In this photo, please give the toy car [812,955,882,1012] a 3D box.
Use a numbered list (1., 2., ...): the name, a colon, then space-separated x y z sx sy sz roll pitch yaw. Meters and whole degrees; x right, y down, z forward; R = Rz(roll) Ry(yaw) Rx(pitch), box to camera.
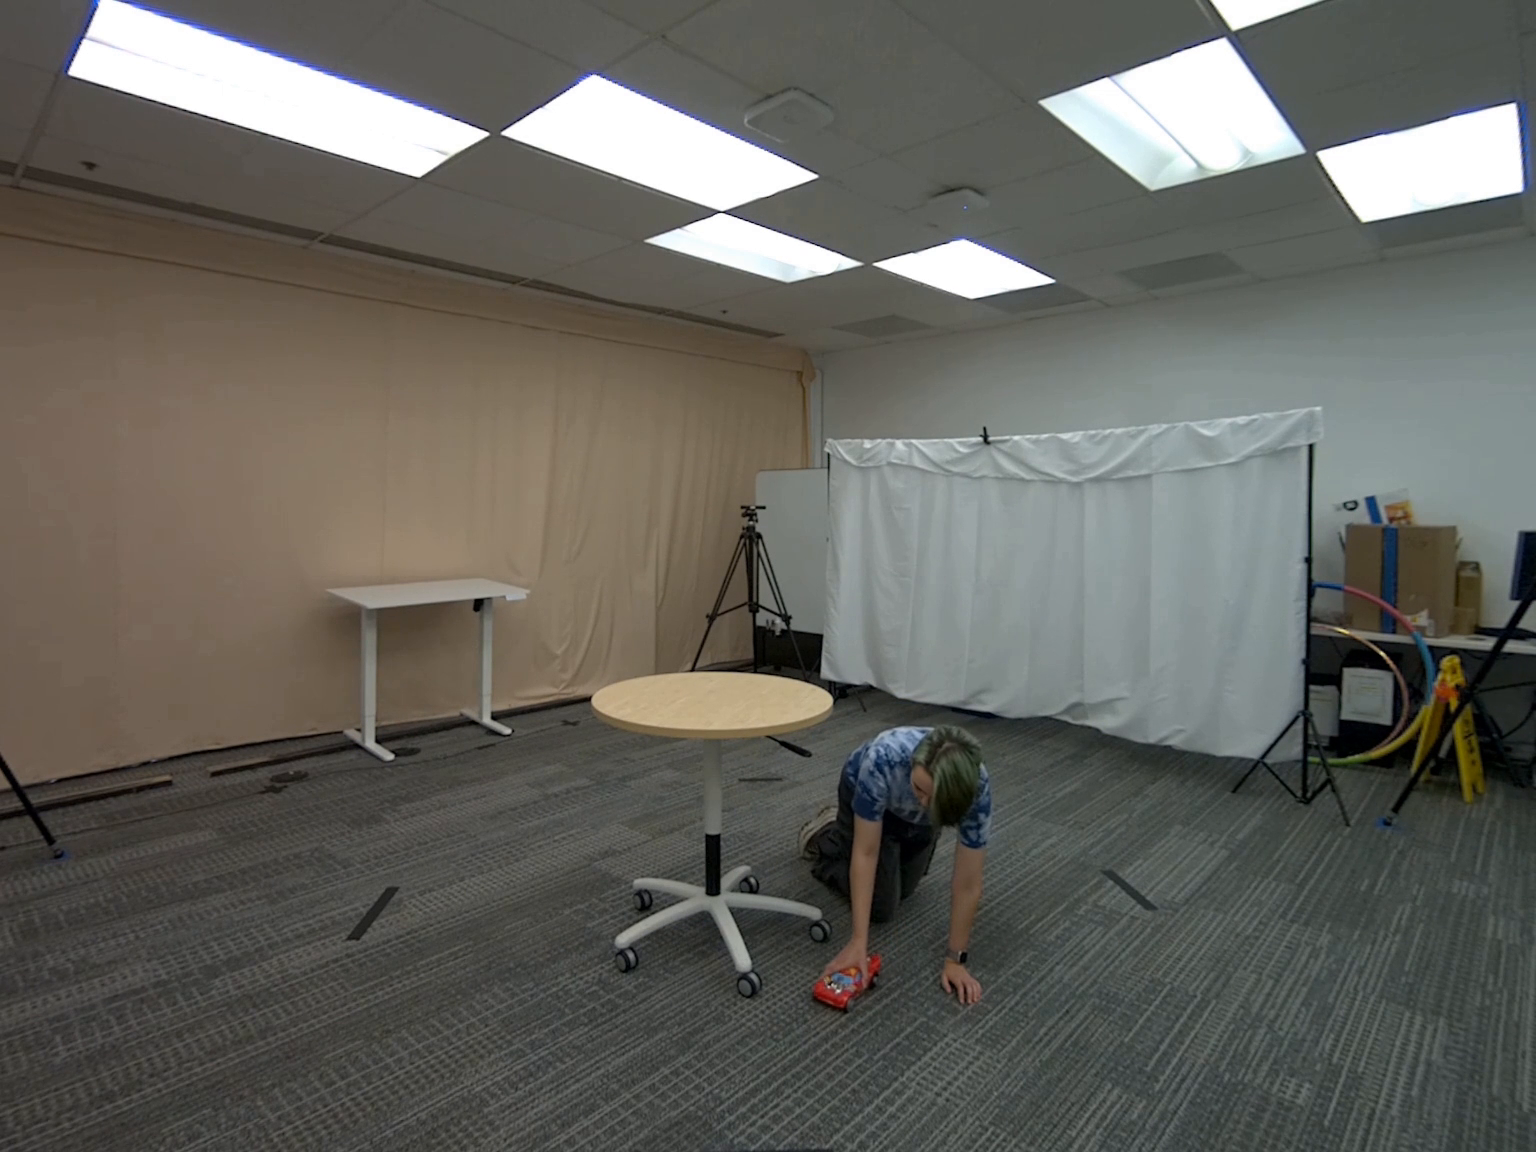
1. toy car: 0.236 1.164 2.417 0.134 0.082 0.249 5 17 36
